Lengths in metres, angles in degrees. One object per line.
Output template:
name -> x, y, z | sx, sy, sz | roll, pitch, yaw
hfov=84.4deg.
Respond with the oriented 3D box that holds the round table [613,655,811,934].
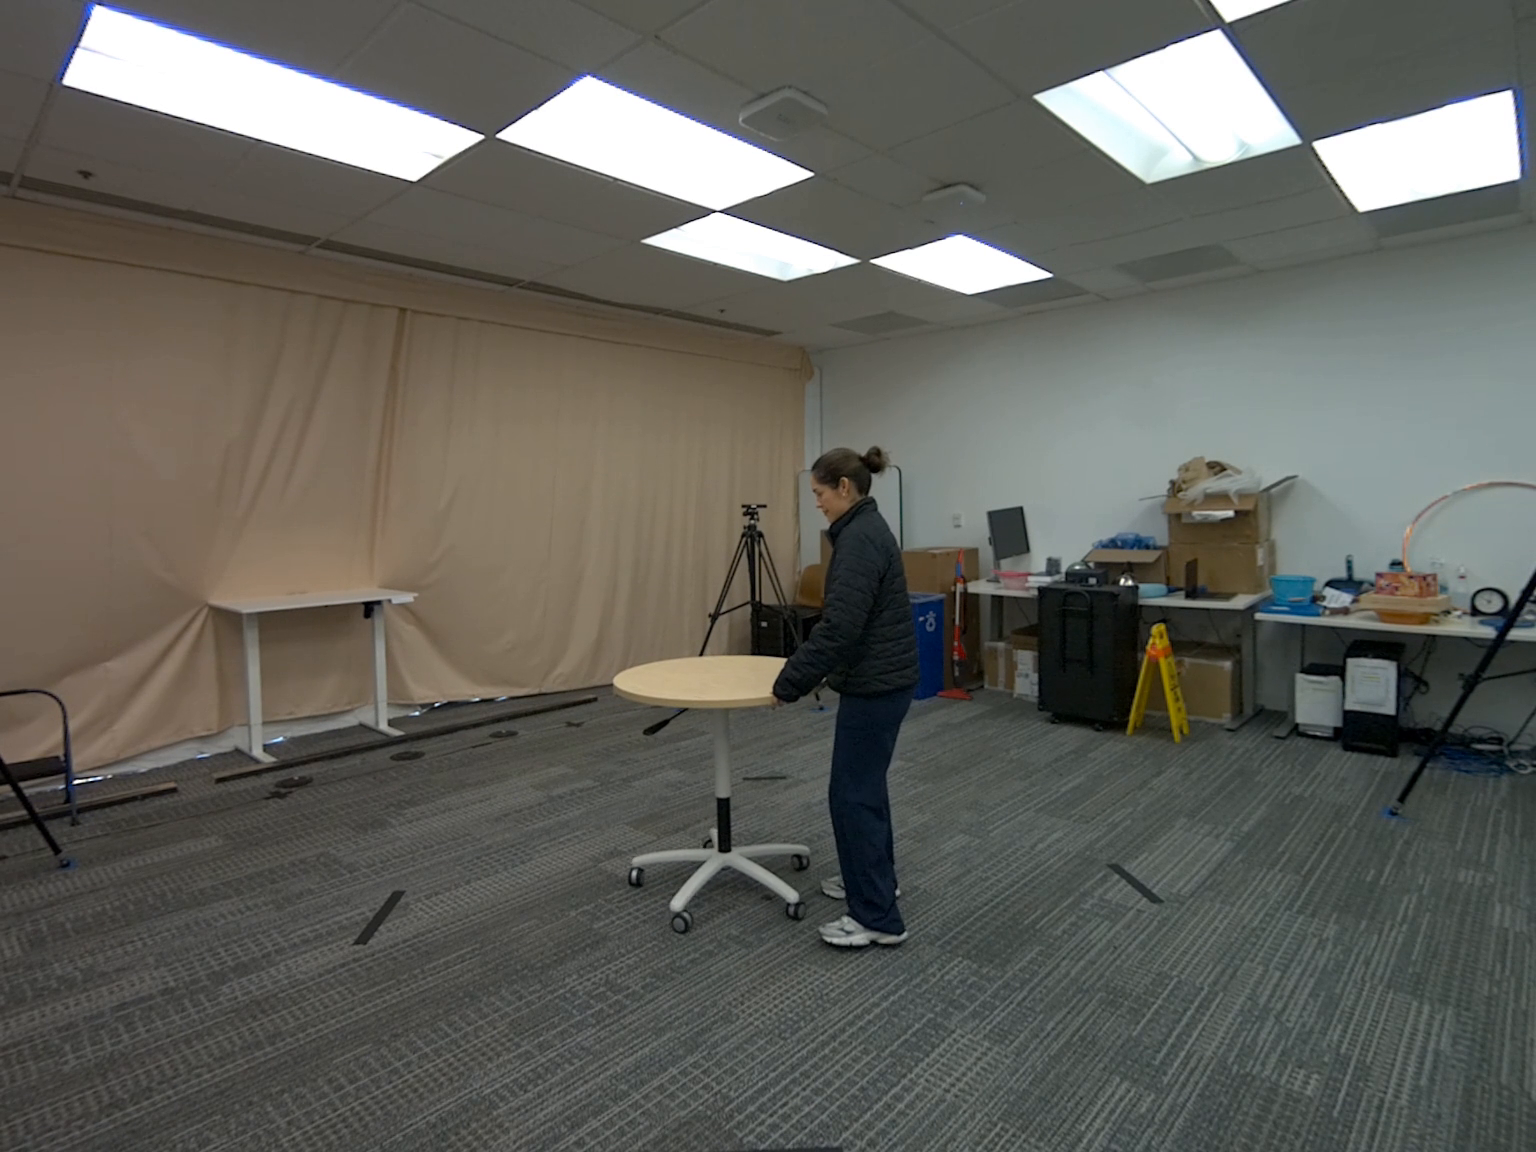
round table -> -0.162, 0.746, 3.048 | 0.784, 0.785, 0.788 | -1, 4, -2
